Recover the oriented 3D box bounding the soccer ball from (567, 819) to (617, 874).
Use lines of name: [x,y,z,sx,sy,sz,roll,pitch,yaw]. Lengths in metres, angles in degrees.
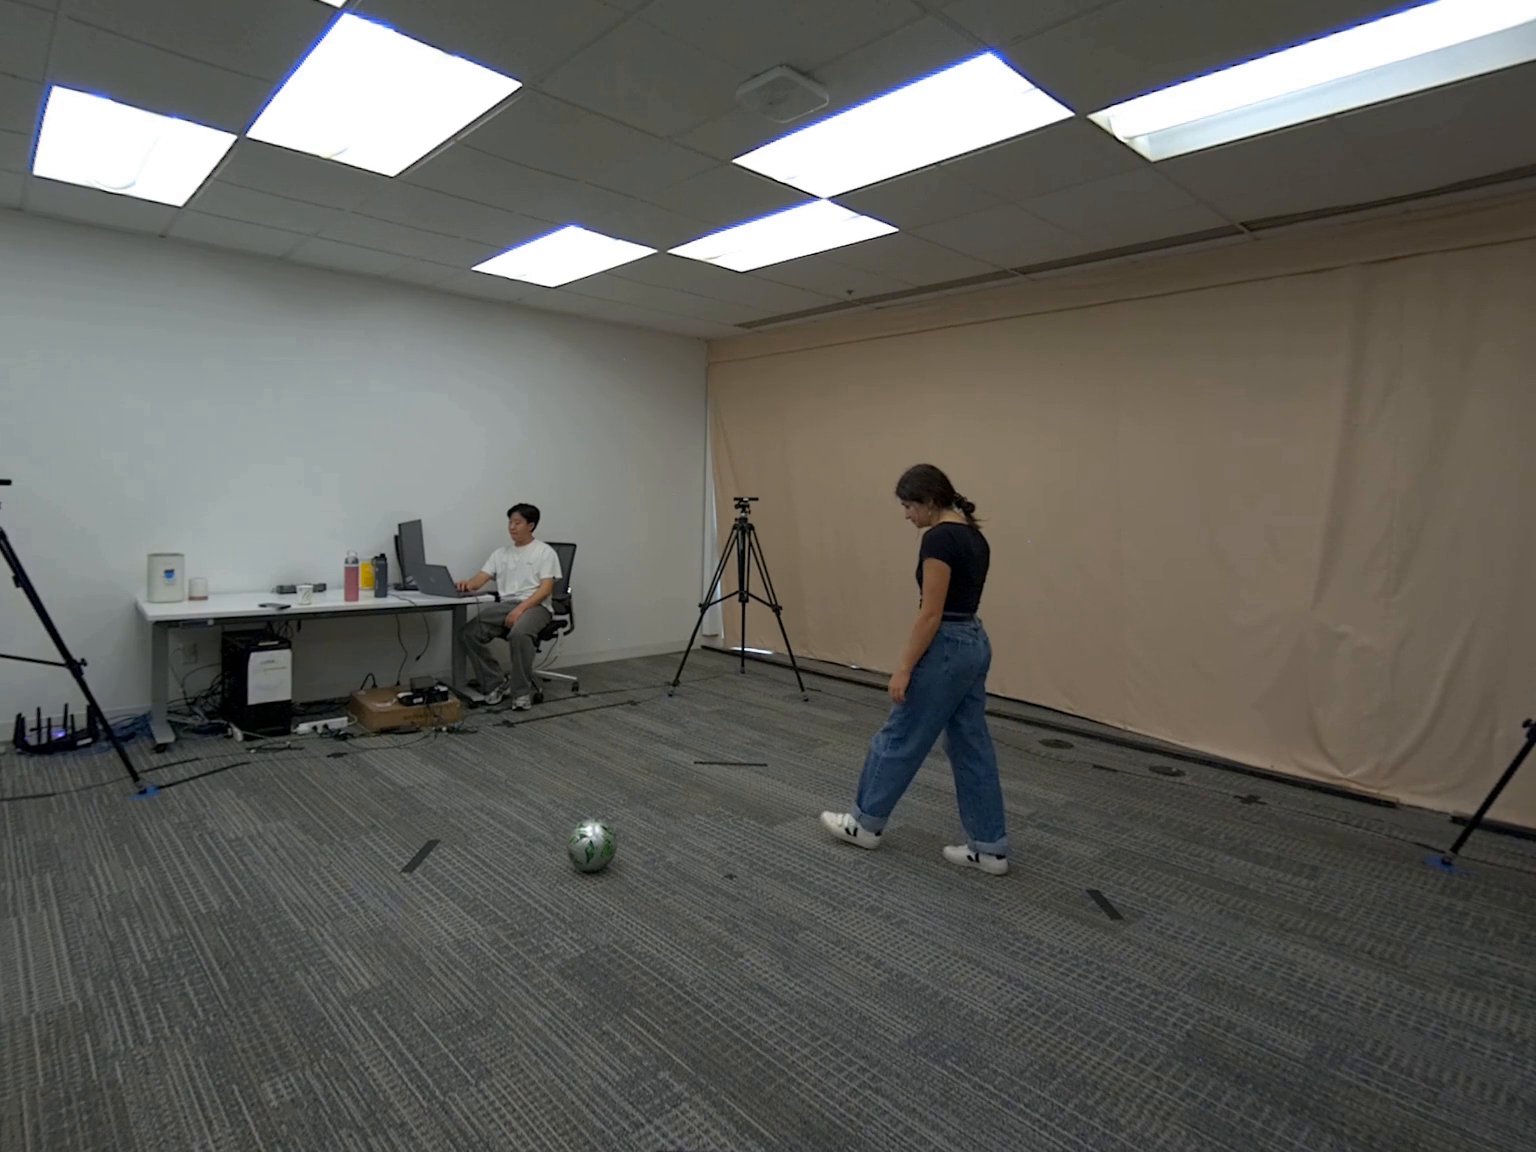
soccer ball: [-0.666,1.004,3.118,0.187,0.187,0.188,1,4,-1]
